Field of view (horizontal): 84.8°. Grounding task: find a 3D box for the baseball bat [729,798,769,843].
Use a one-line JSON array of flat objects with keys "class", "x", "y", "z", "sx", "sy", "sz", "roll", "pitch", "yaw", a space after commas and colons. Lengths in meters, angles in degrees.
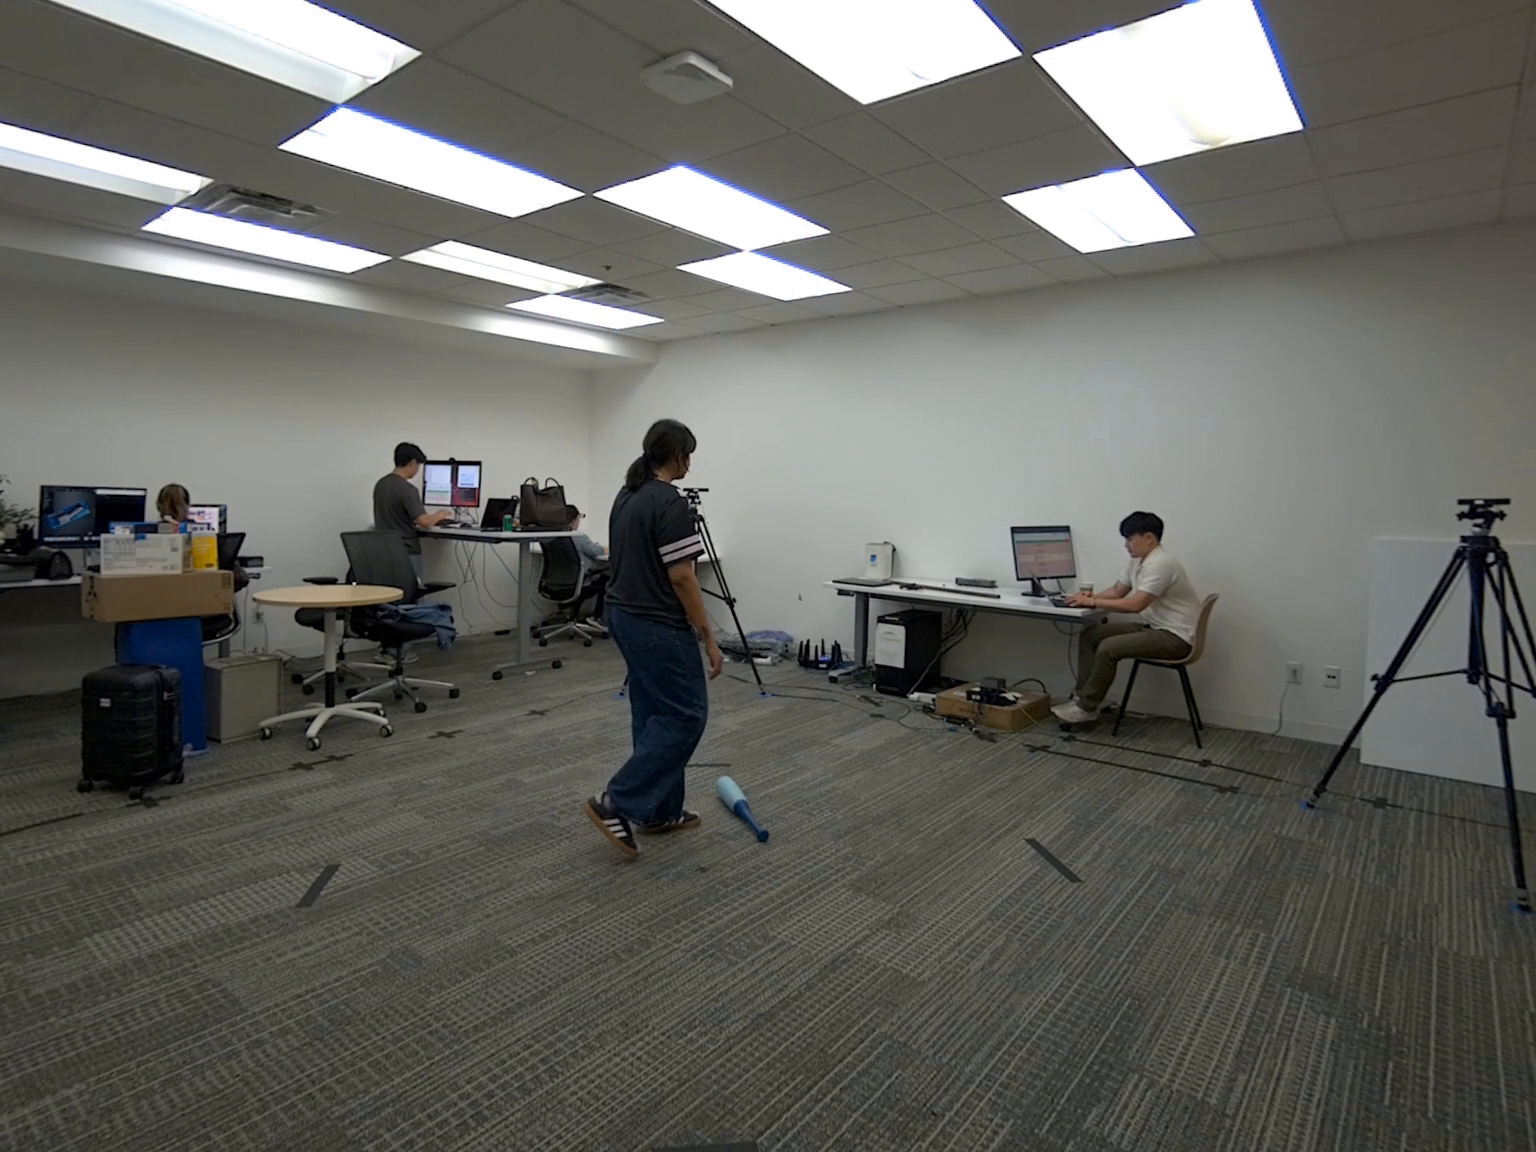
[{"class": "baseball bat", "x": -0.119, "y": 0.986, "z": 3.611, "sx": 0.087, "sy": 0.088, "sz": 0.557, "roll": -1, "pitch": 9, "yaw": -20}]
